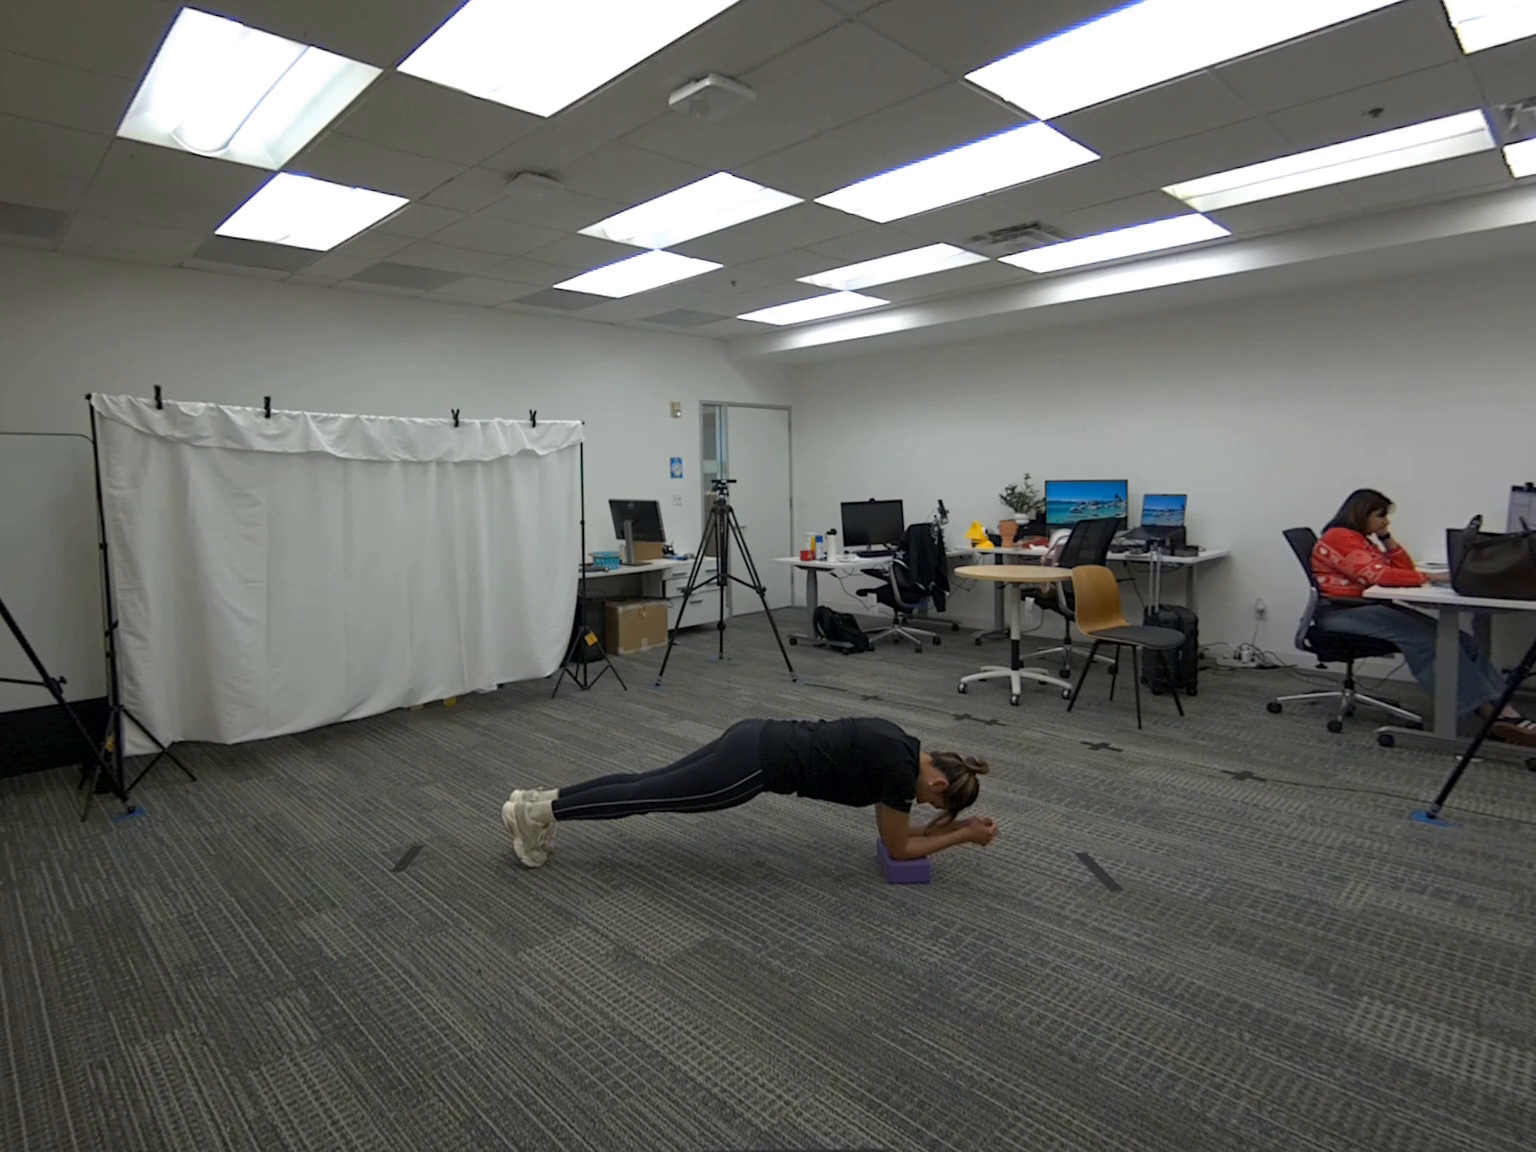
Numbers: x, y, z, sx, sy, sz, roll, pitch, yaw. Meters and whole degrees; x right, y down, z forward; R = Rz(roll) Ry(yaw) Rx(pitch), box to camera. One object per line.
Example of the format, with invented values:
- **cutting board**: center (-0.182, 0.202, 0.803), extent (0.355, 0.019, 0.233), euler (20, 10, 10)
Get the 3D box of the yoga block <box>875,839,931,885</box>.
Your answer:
- **yoga block**: center (0.478, 1.001, 3.038), extent (0.149, 0.076, 0.230), euler (-1, 6, 0)
